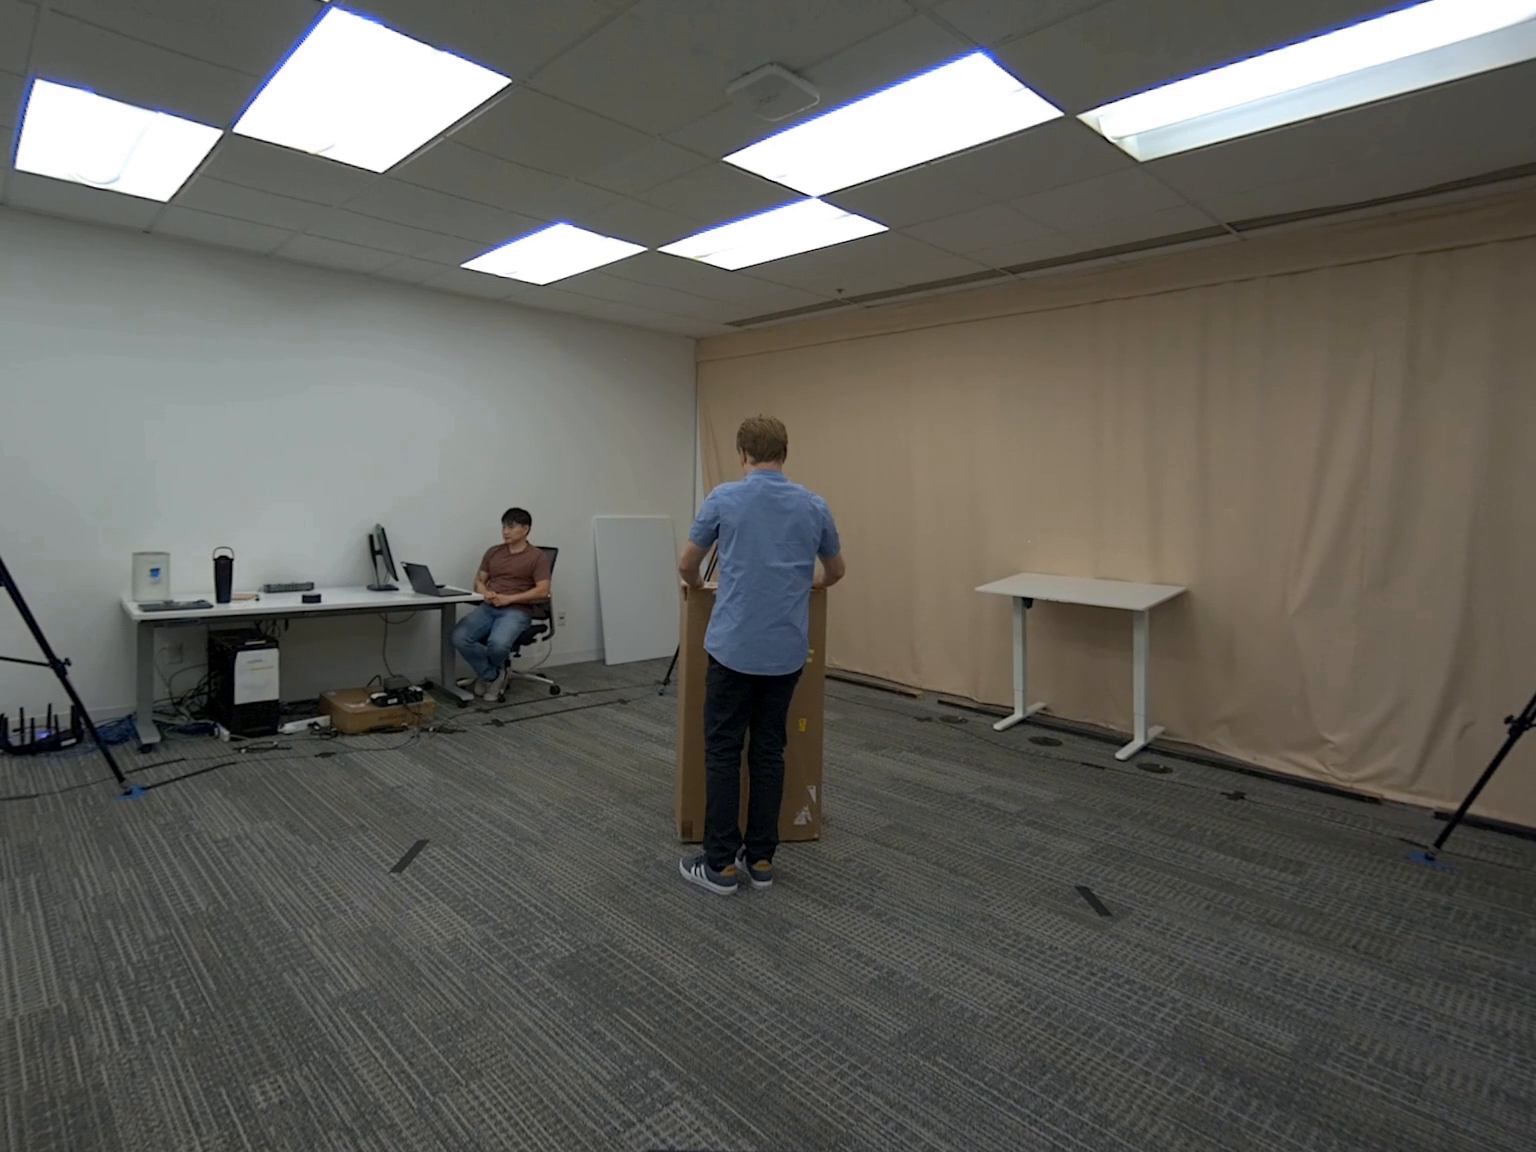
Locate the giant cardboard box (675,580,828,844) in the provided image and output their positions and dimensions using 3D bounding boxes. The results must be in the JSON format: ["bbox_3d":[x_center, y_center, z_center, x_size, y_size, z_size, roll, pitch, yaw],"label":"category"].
[{"bbox_3d":[-0.089,0.547,3.601,0.580,1.026,0.450,1,1,-8],"label":"giant cardboard box"}]
